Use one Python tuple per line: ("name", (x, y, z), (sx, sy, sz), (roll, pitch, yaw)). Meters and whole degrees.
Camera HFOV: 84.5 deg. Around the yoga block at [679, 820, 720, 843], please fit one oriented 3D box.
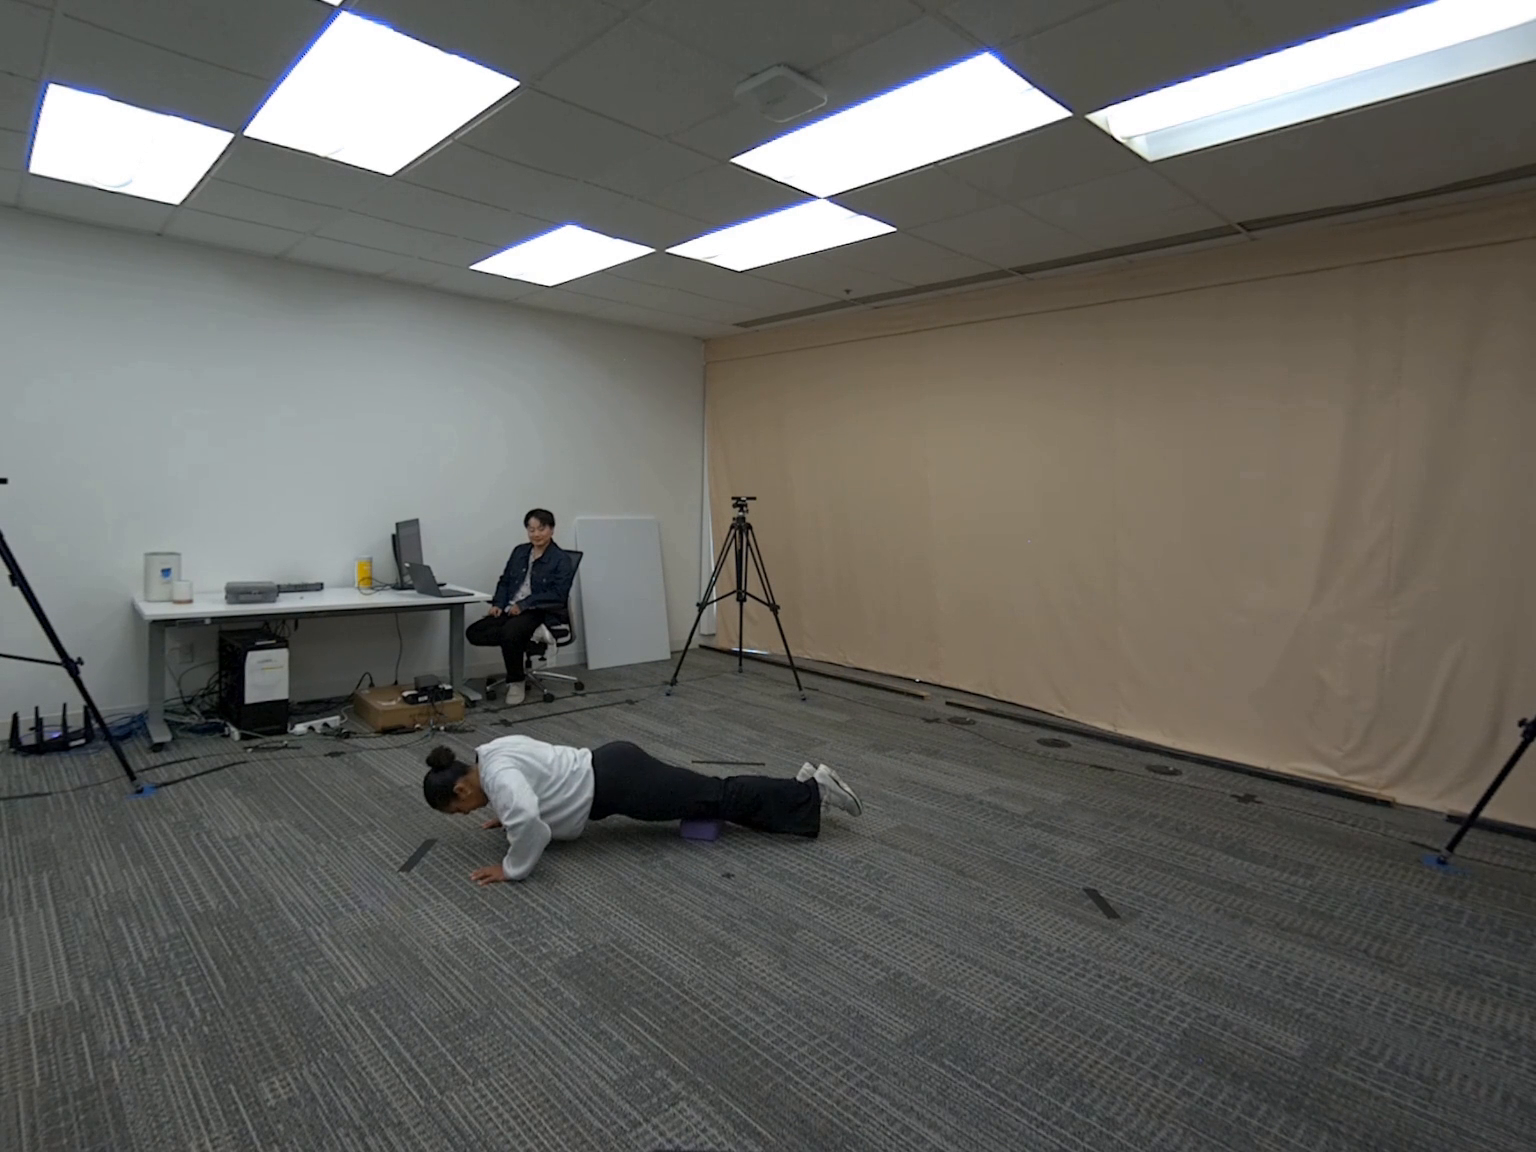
("yoga block", (-0.272, 1.017, 3.523), (0.150, 0.076, 0.228), (3, 8, 11))
